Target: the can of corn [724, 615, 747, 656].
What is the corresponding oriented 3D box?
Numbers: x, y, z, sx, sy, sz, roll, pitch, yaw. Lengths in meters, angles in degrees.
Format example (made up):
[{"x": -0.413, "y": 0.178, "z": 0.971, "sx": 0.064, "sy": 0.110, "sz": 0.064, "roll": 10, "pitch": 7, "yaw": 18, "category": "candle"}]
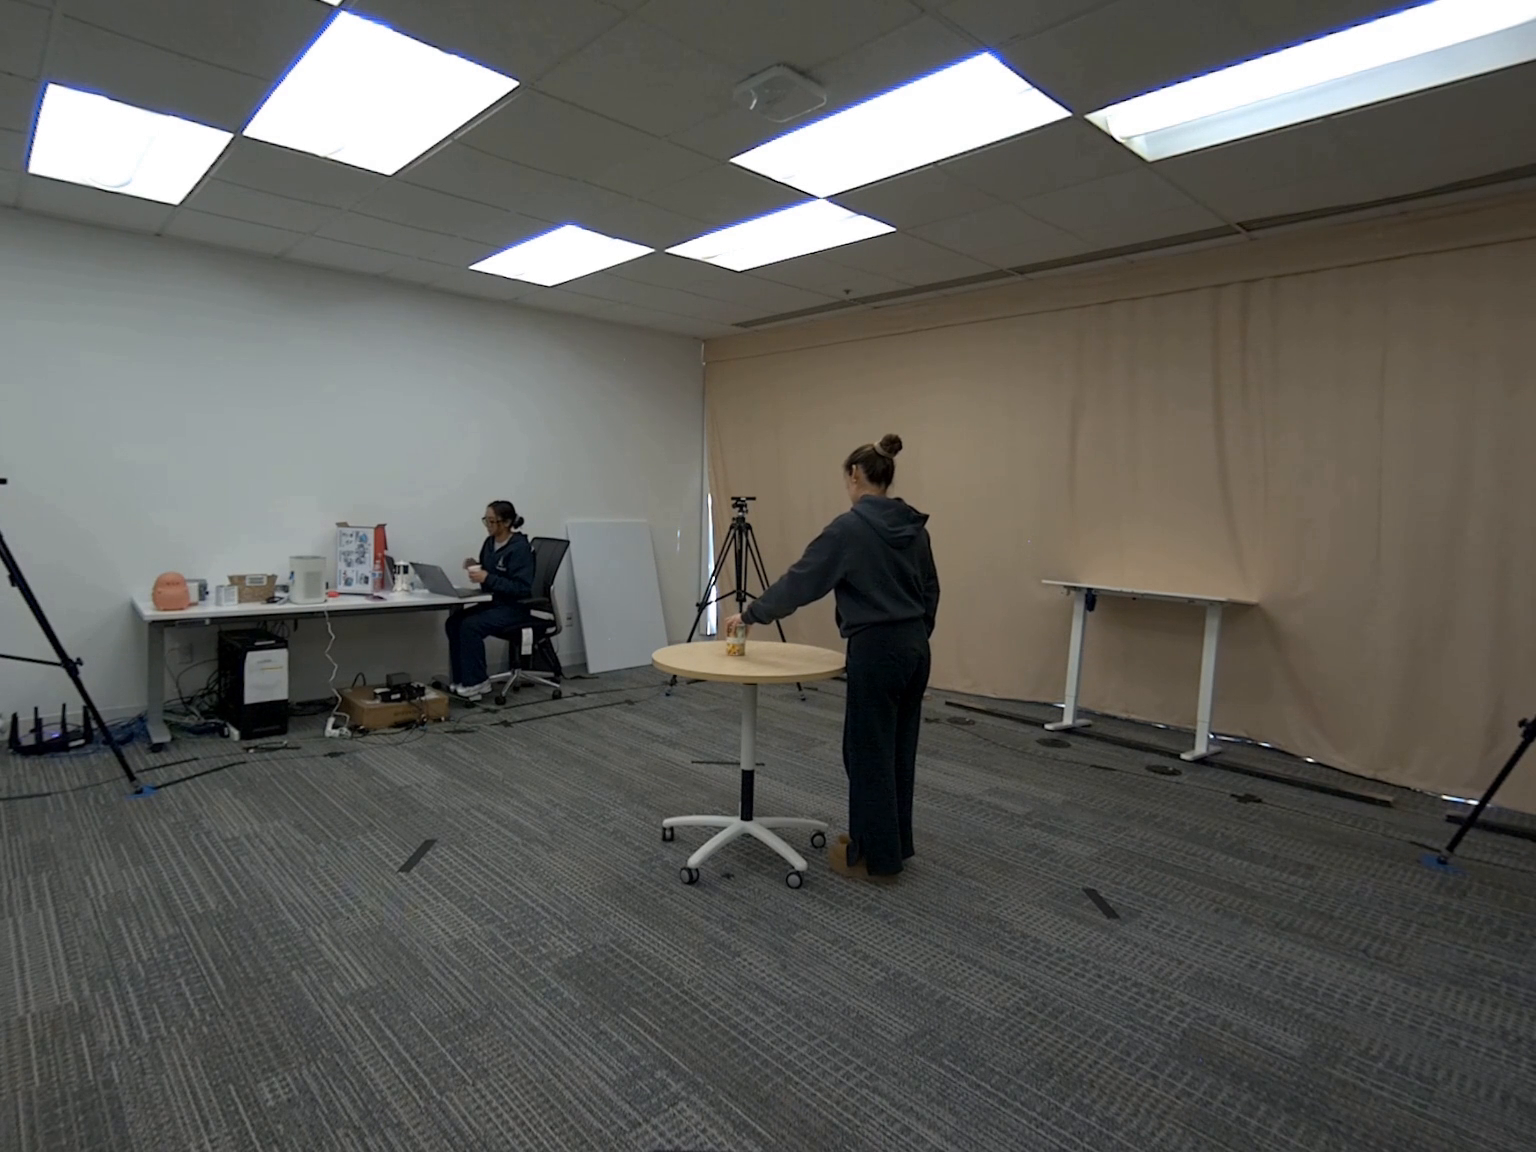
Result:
[{"x": -0.128, "y": 0.242, "z": 3.294, "sx": 0.074, "sy": 0.111, "sz": 0.074, "roll": 3, "pitch": 4, "yaw": -2, "category": "can of corn"}]
